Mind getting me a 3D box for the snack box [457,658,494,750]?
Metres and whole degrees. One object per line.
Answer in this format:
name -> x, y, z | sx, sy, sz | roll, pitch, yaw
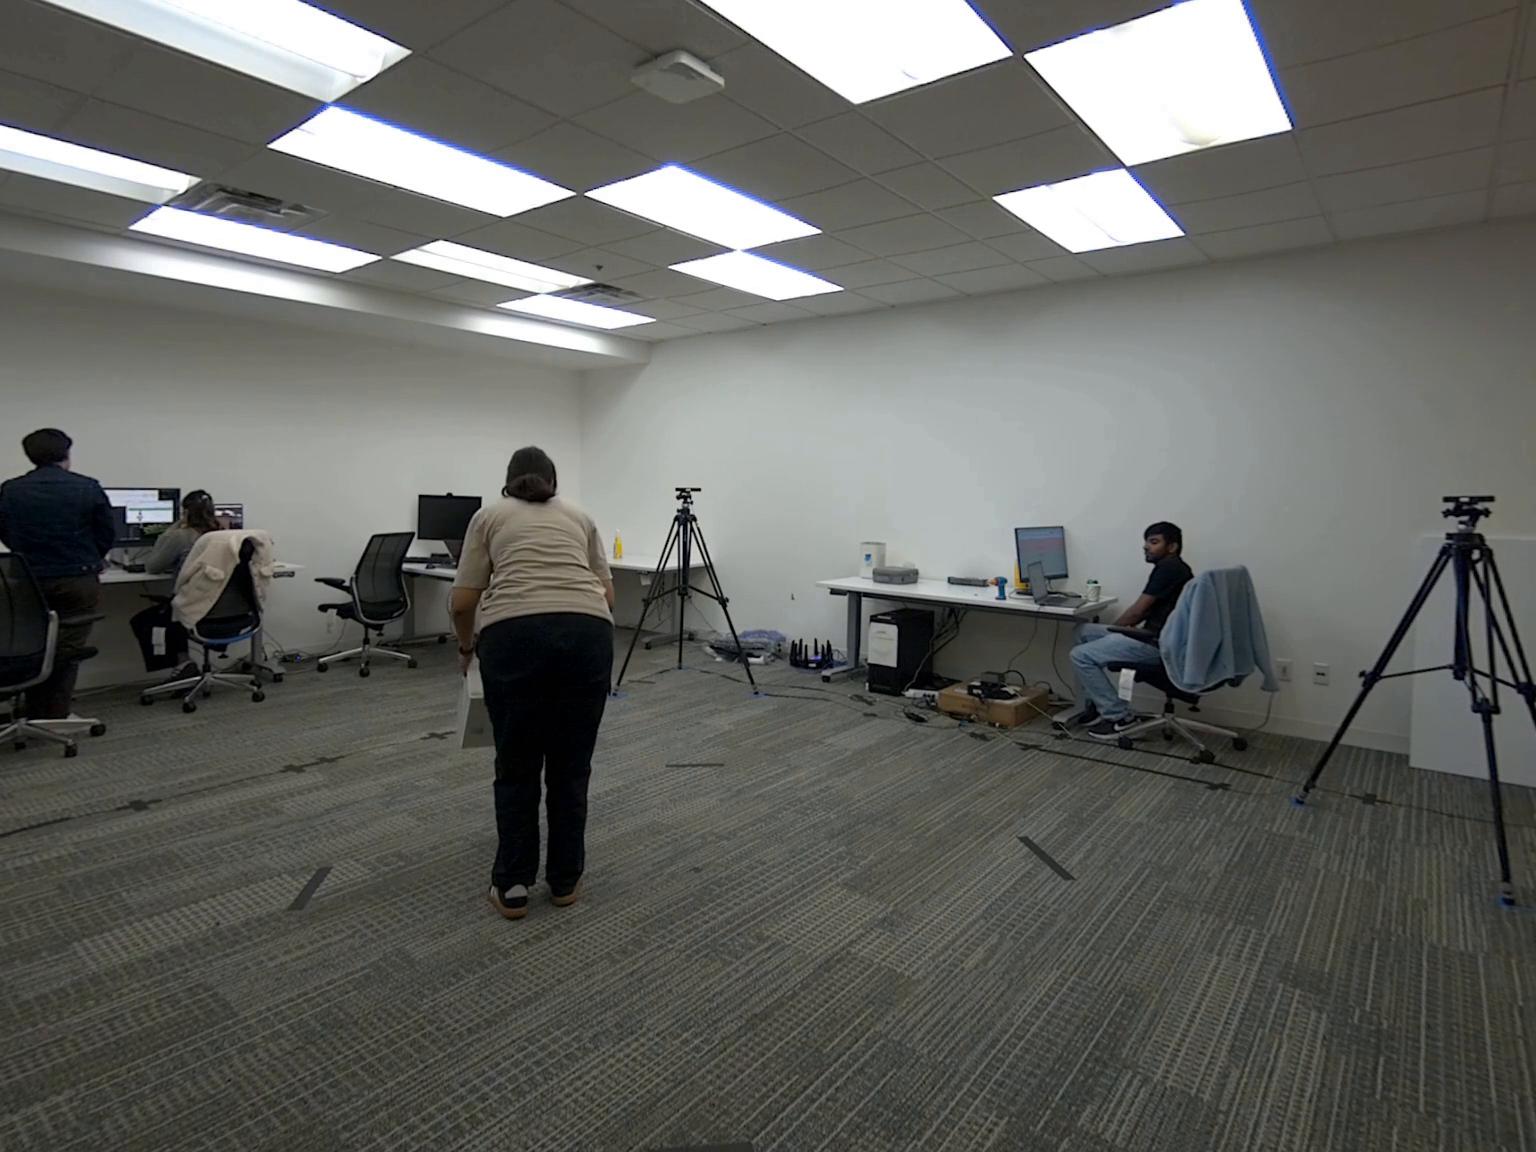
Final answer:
snack box -> -0.976, 0.478, 3.289 | 0.395, 0.335, 0.213 | 1, 45, -25
